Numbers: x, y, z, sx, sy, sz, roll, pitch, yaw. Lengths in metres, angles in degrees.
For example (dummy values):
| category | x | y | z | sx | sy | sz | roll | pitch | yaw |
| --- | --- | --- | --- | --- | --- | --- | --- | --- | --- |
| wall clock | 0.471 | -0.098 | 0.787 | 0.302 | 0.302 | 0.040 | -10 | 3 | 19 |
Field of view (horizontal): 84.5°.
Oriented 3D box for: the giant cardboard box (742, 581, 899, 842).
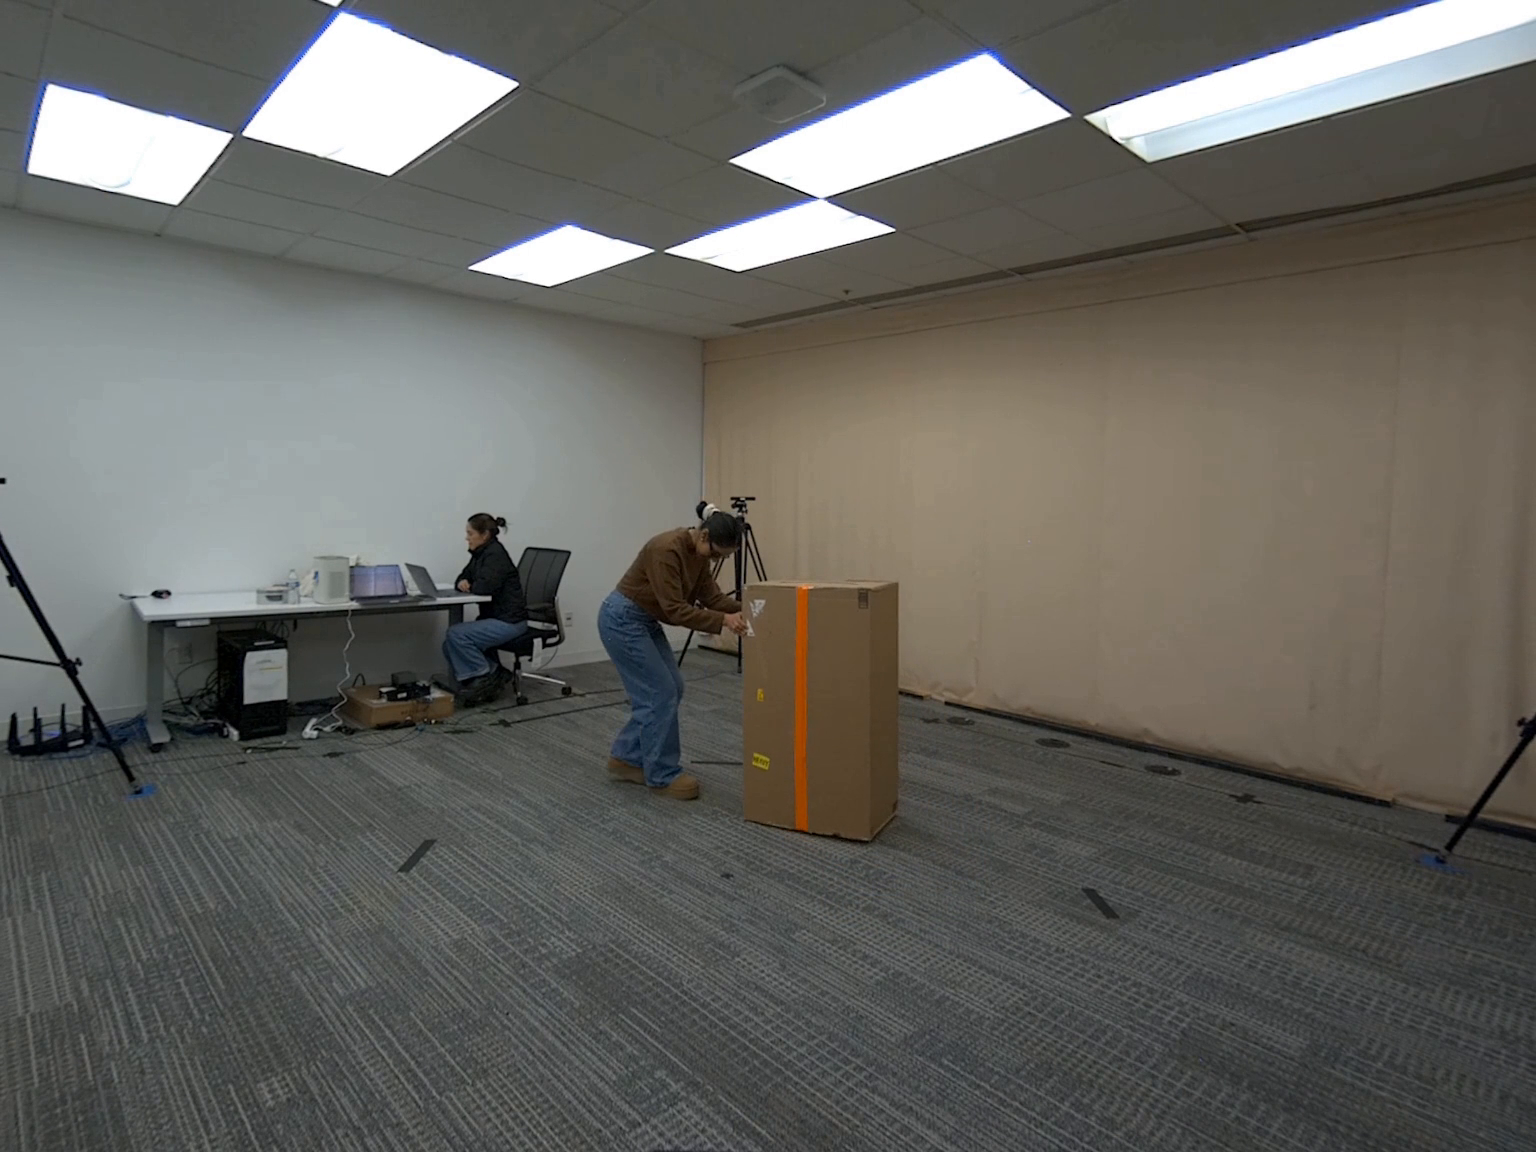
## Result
| category | x | y | z | sx | sy | sz | roll | pitch | yaw |
| --- | --- | --- | --- | --- | --- | --- | --- | --- | --- |
| giant cardboard box | 0.227 | 0.546 | 3.687 | 0.589 | 1.025 | 0.418 | 1 | 2 | 27 |
